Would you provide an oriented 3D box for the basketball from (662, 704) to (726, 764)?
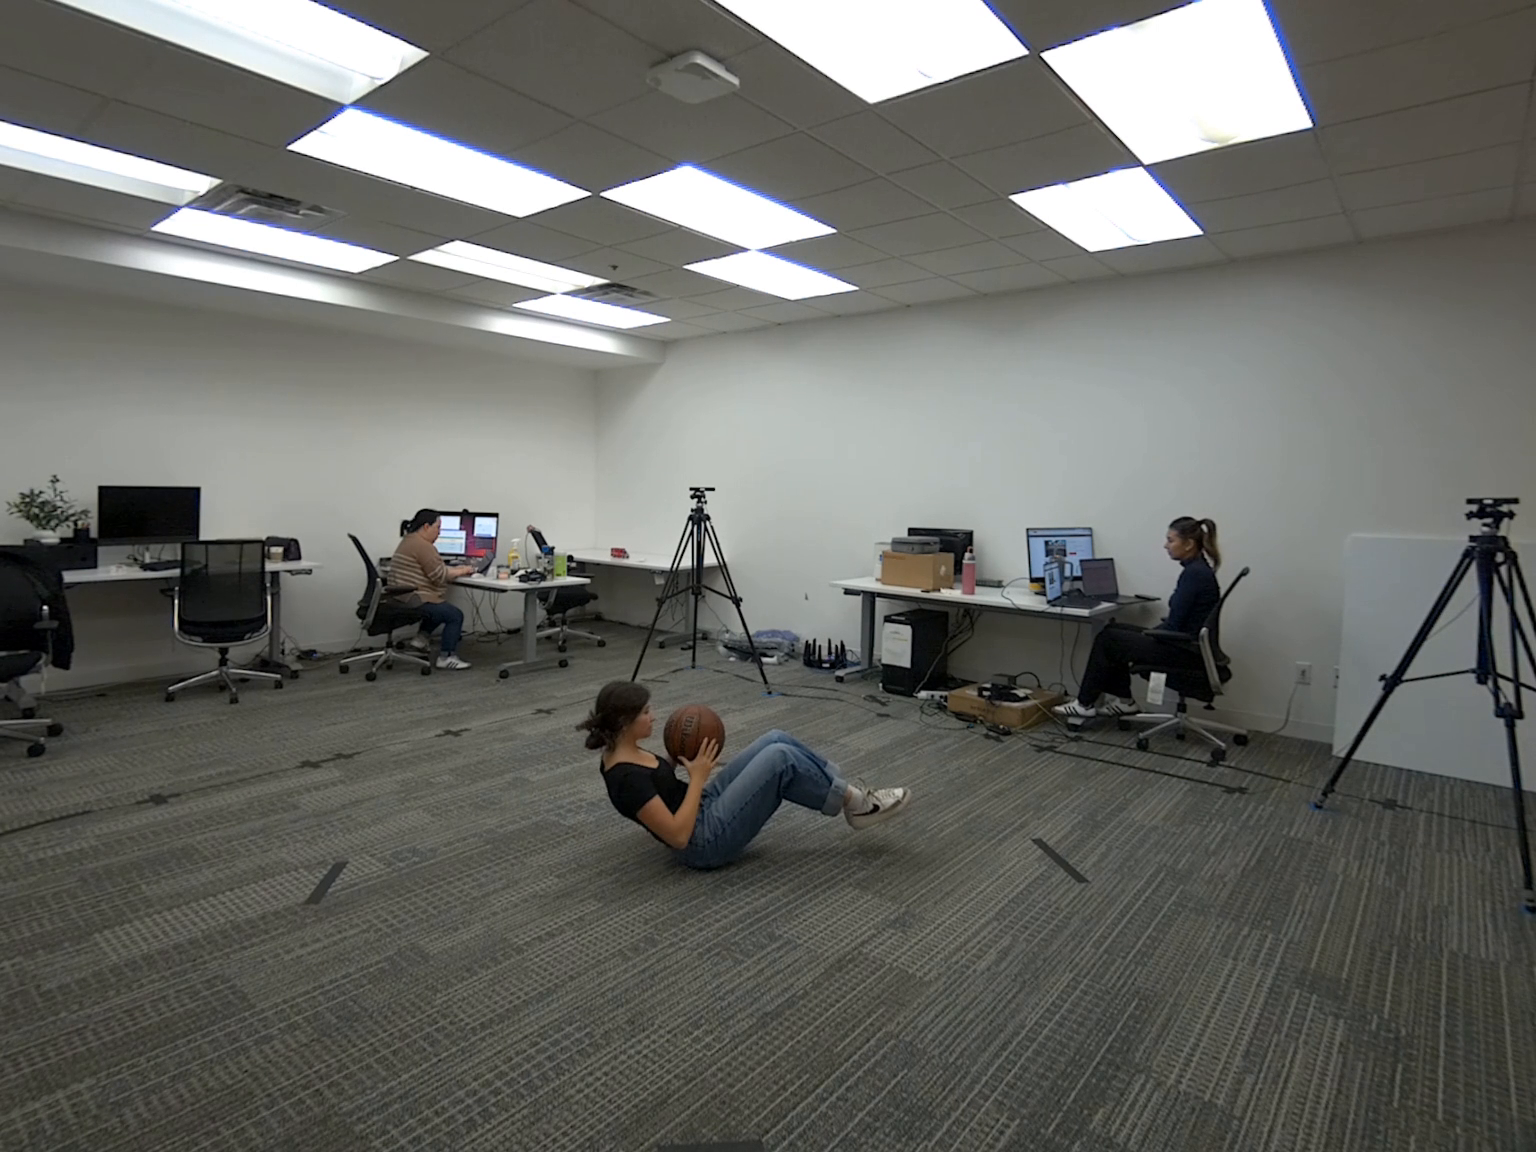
[{"bbox_3d":[-0.301,0.621,3.283,0.235,0.235,0.237,1,4,-2],"label":"basketball"}]
